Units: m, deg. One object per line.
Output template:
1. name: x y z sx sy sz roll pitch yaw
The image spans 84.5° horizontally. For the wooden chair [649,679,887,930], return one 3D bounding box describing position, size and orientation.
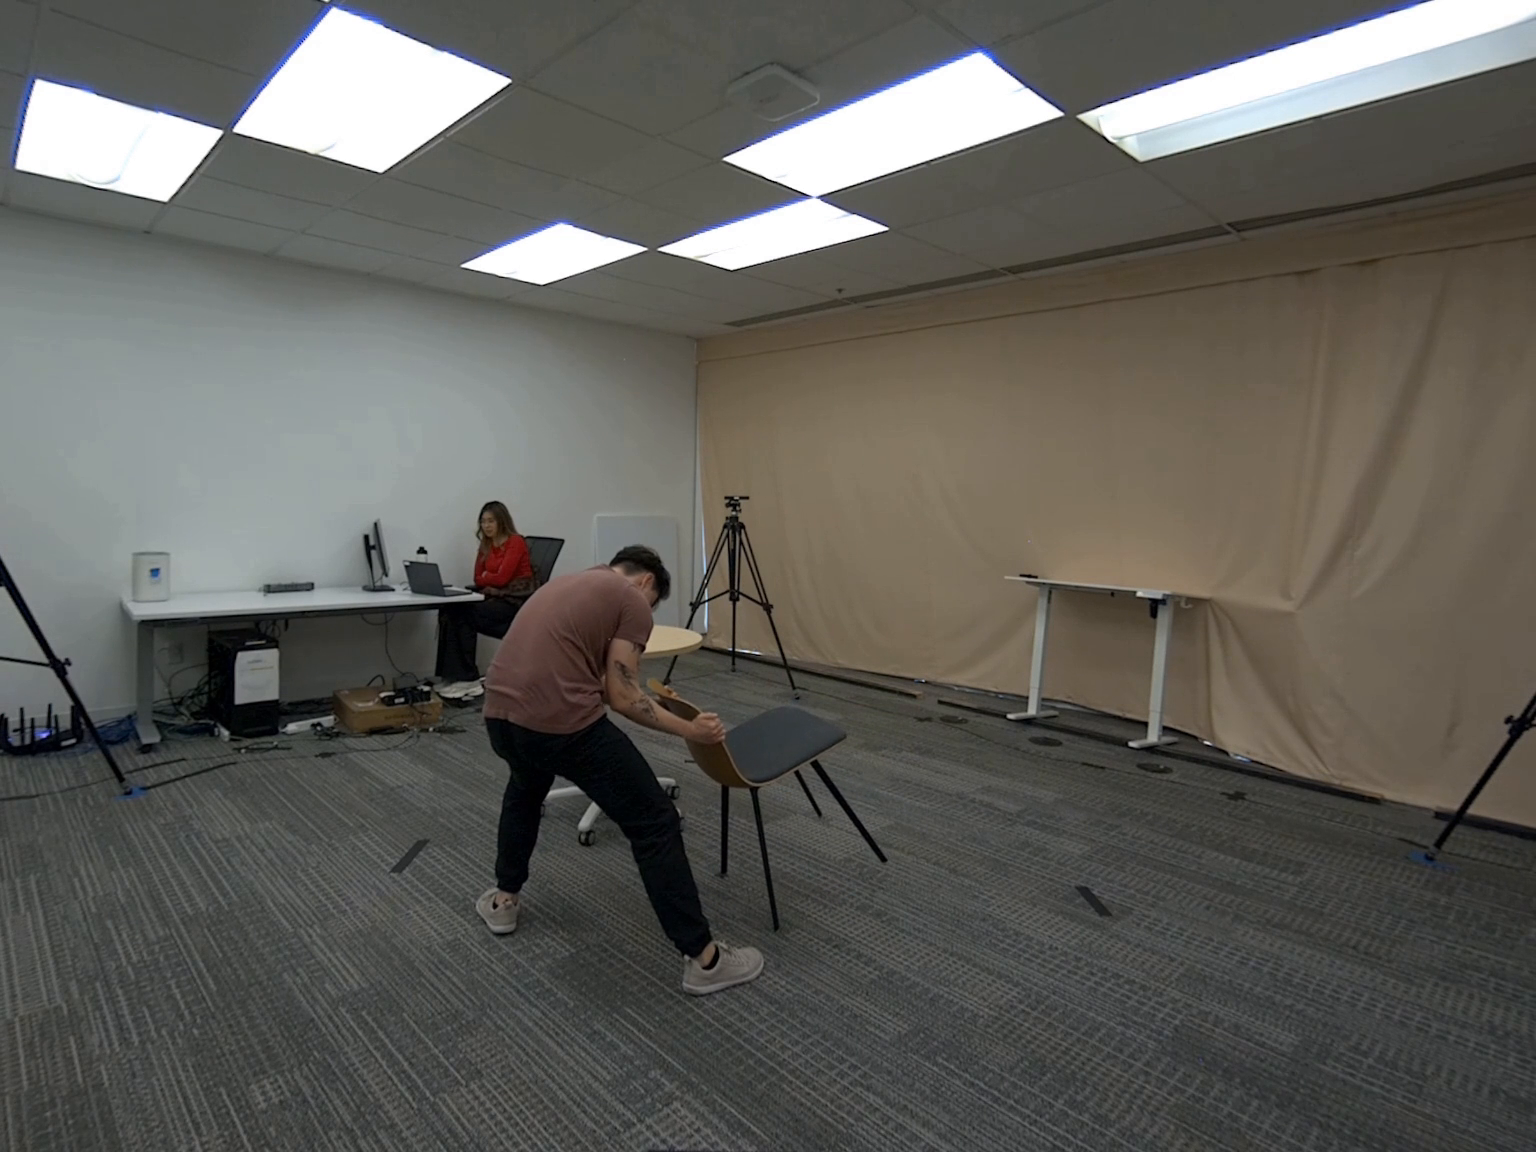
1. wooden chair: -0.005 0.642 2.906 0.519 0.866 0.488 -27 14 -21
